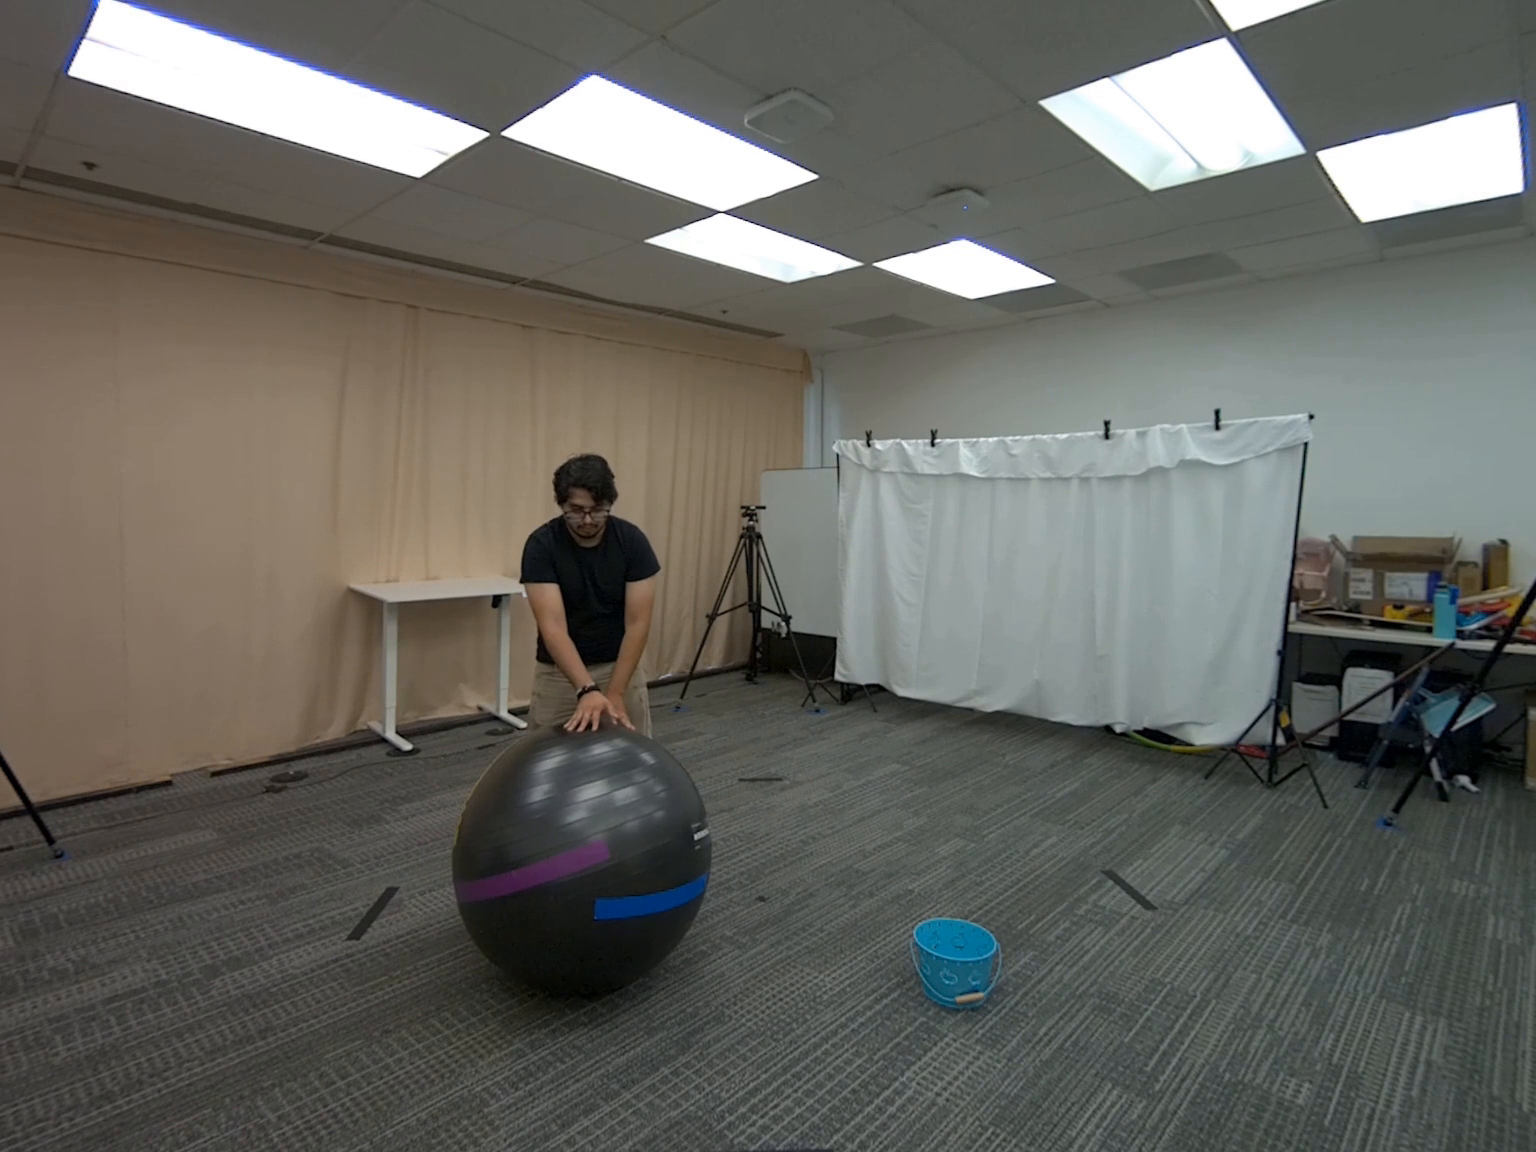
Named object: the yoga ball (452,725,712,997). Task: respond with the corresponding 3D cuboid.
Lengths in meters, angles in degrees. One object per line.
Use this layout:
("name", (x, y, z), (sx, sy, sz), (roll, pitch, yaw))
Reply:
("yoga ball", (-0.549, 0.827, 2.492), (0.757, 0.756, 0.760), (0, 4, -2))
